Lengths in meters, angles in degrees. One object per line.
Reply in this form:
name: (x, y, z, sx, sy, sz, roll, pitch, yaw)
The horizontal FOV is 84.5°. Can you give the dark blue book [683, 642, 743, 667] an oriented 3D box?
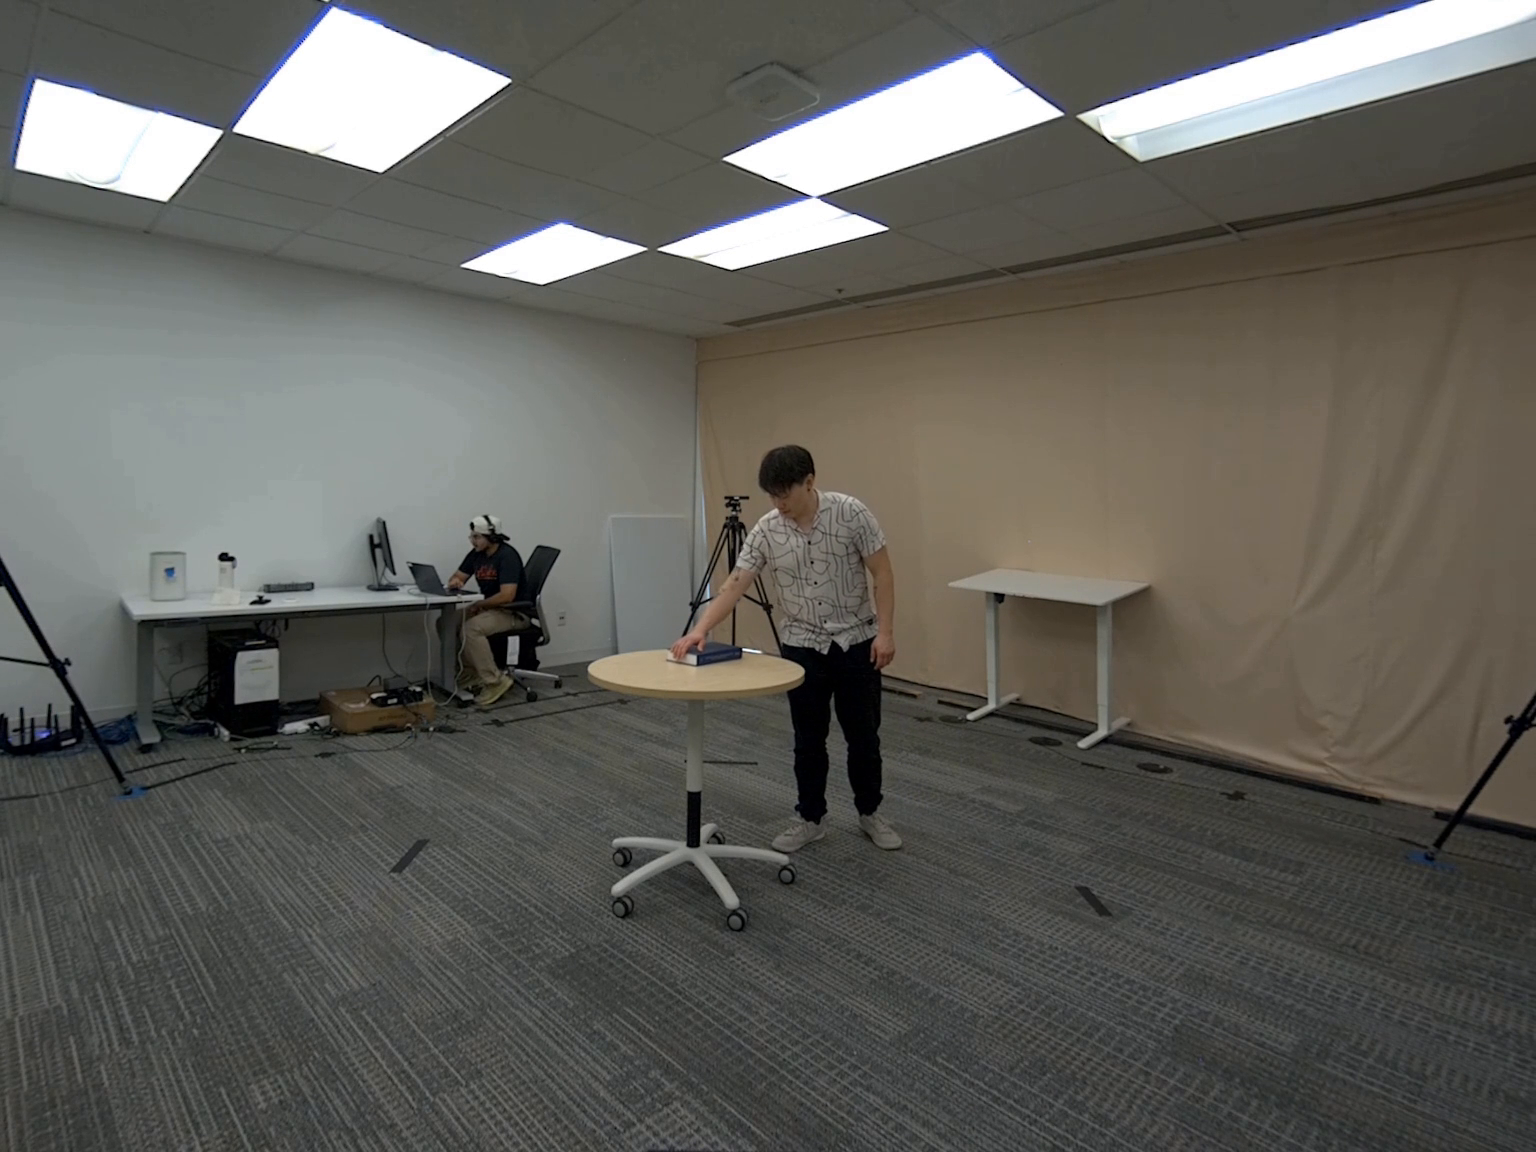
dark blue book: (-0.237, 0.293, 3.151, 0.167, 0.045, 0.240, 5, 7, 41)
